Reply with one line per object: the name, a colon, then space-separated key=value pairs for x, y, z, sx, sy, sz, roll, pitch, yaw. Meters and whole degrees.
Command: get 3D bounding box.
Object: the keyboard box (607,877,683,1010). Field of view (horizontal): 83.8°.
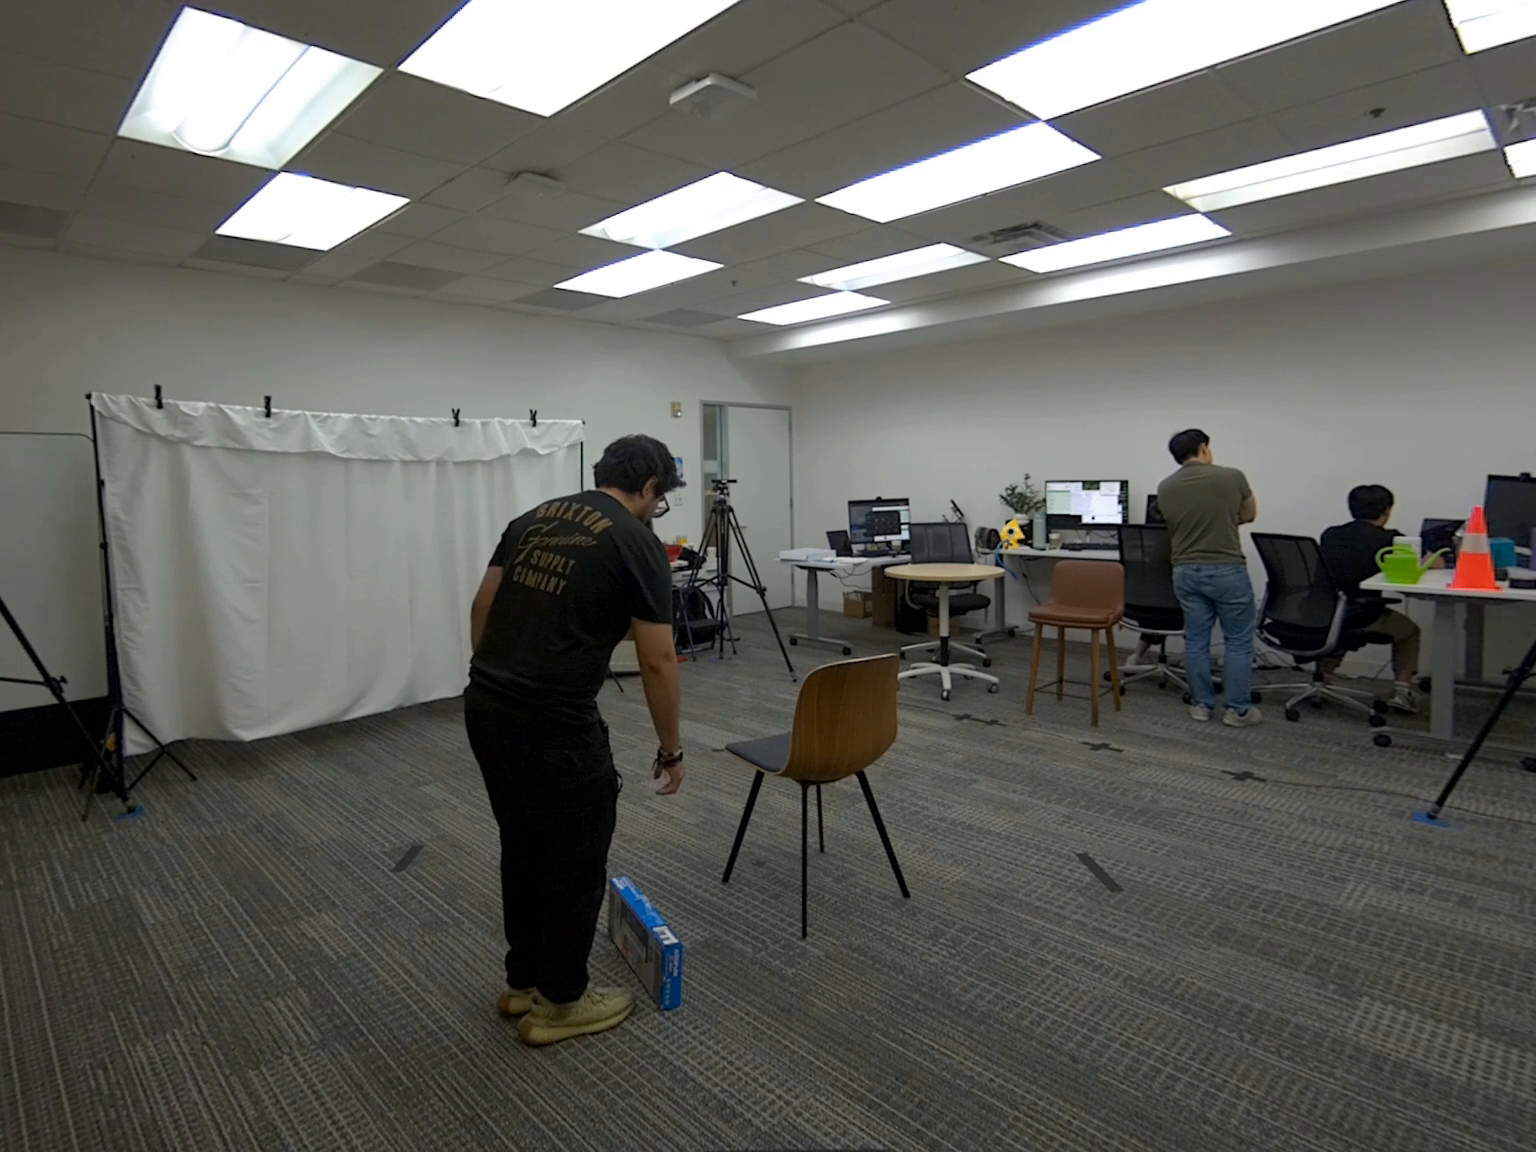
keyboard box: x=-0.358 y=1.048 z=2.454 sx=0.058 sy=0.175 sz=0.449 roll=1 pitch=5 yaw=-29
